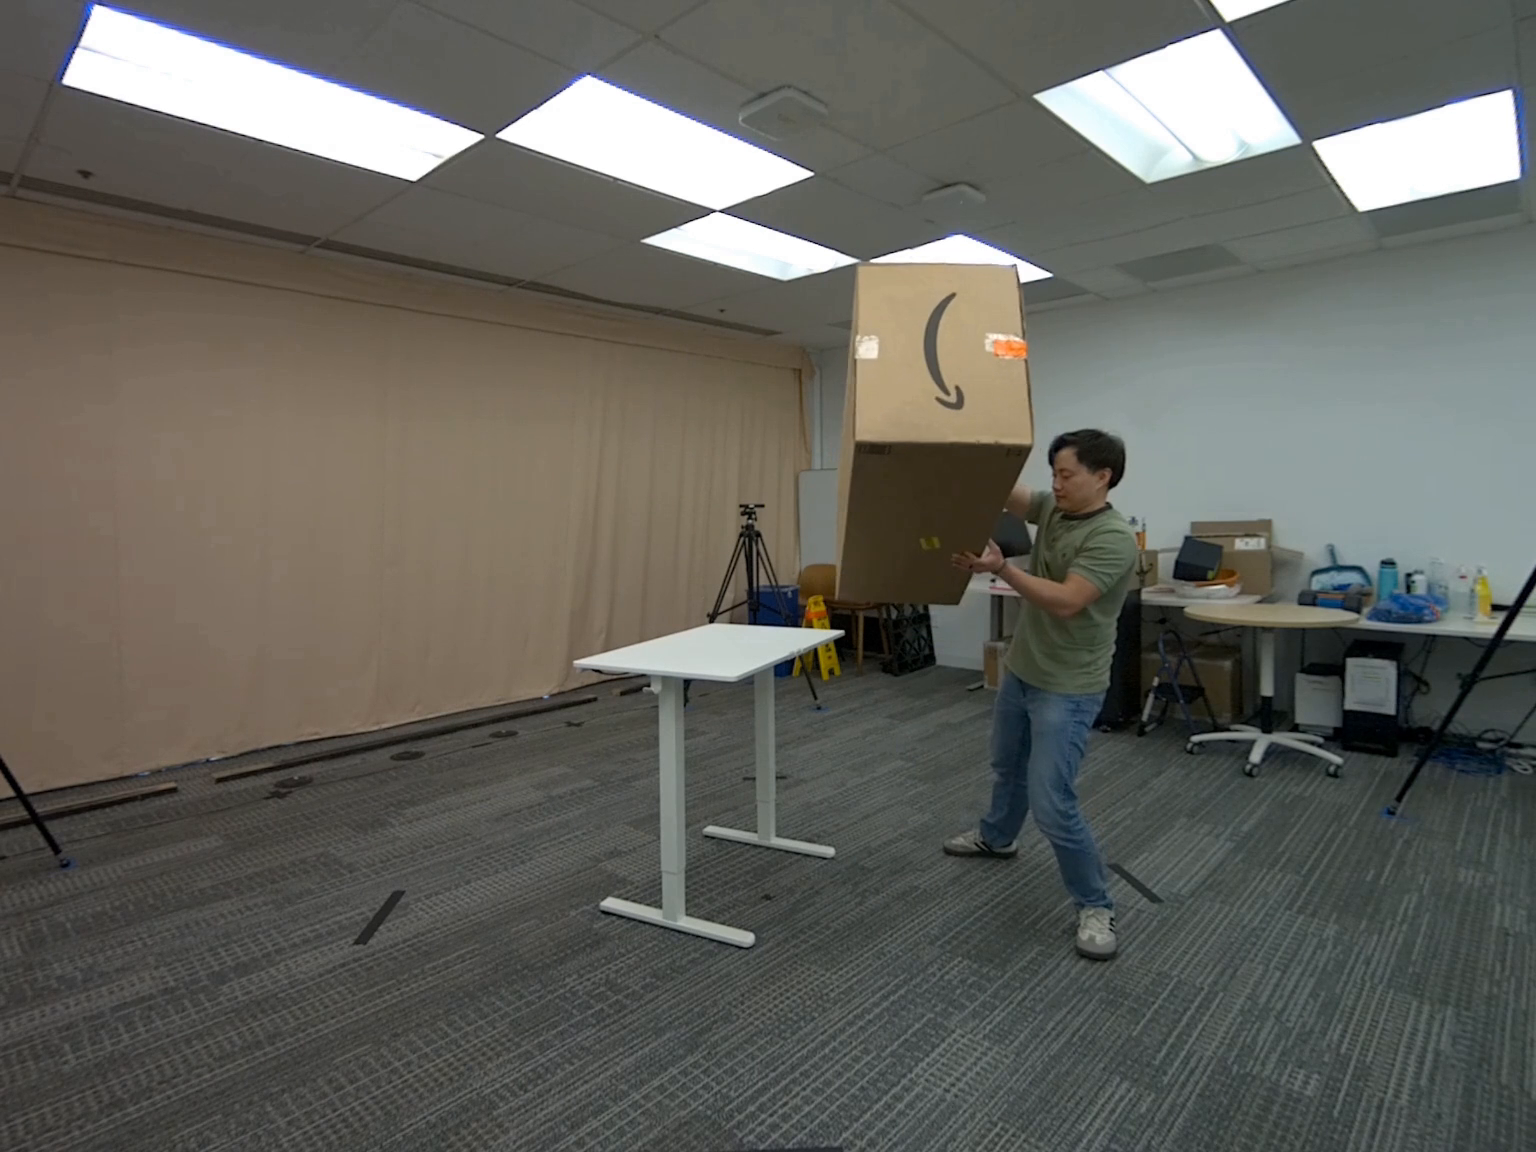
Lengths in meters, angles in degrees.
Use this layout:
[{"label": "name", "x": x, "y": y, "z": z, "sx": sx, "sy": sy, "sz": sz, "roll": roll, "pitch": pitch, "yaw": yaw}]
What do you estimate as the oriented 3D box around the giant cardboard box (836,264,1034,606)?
[{"label": "giant cardboard box", "x": 0.458, "y": -0.368, "z": 2.580, "sx": 0.429, "sy": 0.584, "sz": 1.007, "roll": 3, "pitch": -24, "yaw": 4}]
